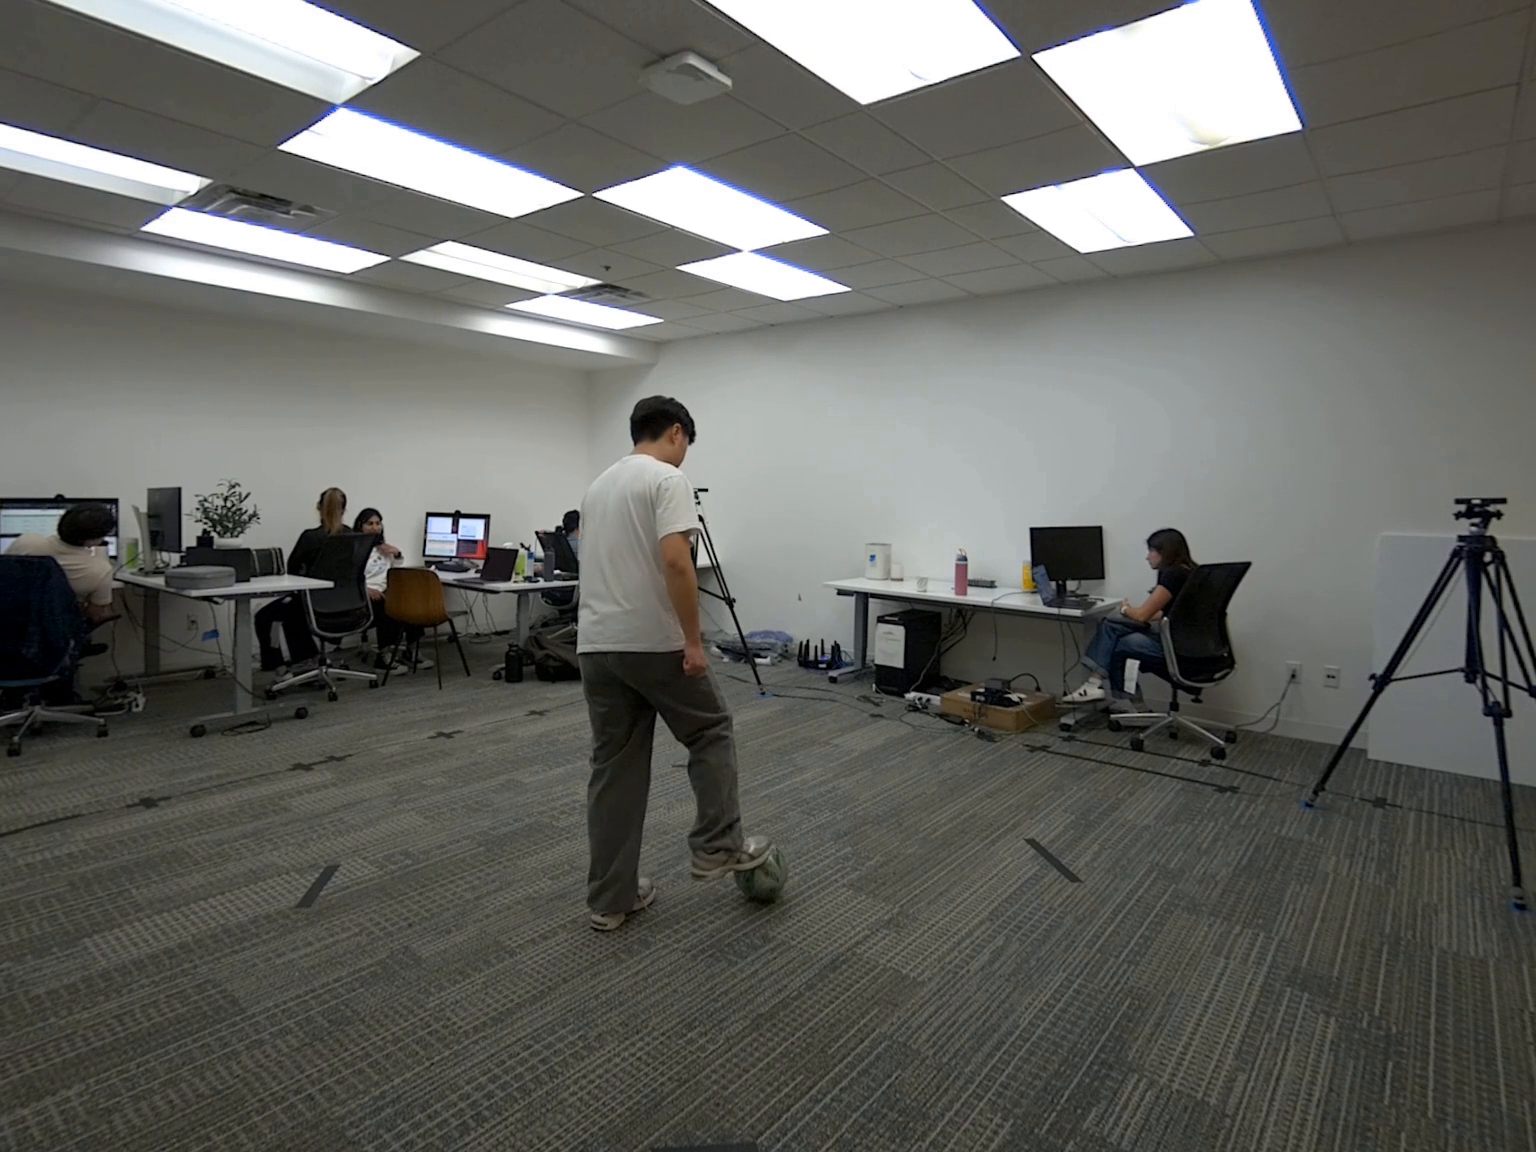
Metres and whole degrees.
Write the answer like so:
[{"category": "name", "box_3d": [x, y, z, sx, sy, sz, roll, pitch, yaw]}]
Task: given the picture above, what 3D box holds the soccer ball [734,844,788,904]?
[{"category": "soccer ball", "box_3d": [-0.024, 0.991, 2.899, 0.187, 0.187, 0.188, 1, 4, -2]}]
